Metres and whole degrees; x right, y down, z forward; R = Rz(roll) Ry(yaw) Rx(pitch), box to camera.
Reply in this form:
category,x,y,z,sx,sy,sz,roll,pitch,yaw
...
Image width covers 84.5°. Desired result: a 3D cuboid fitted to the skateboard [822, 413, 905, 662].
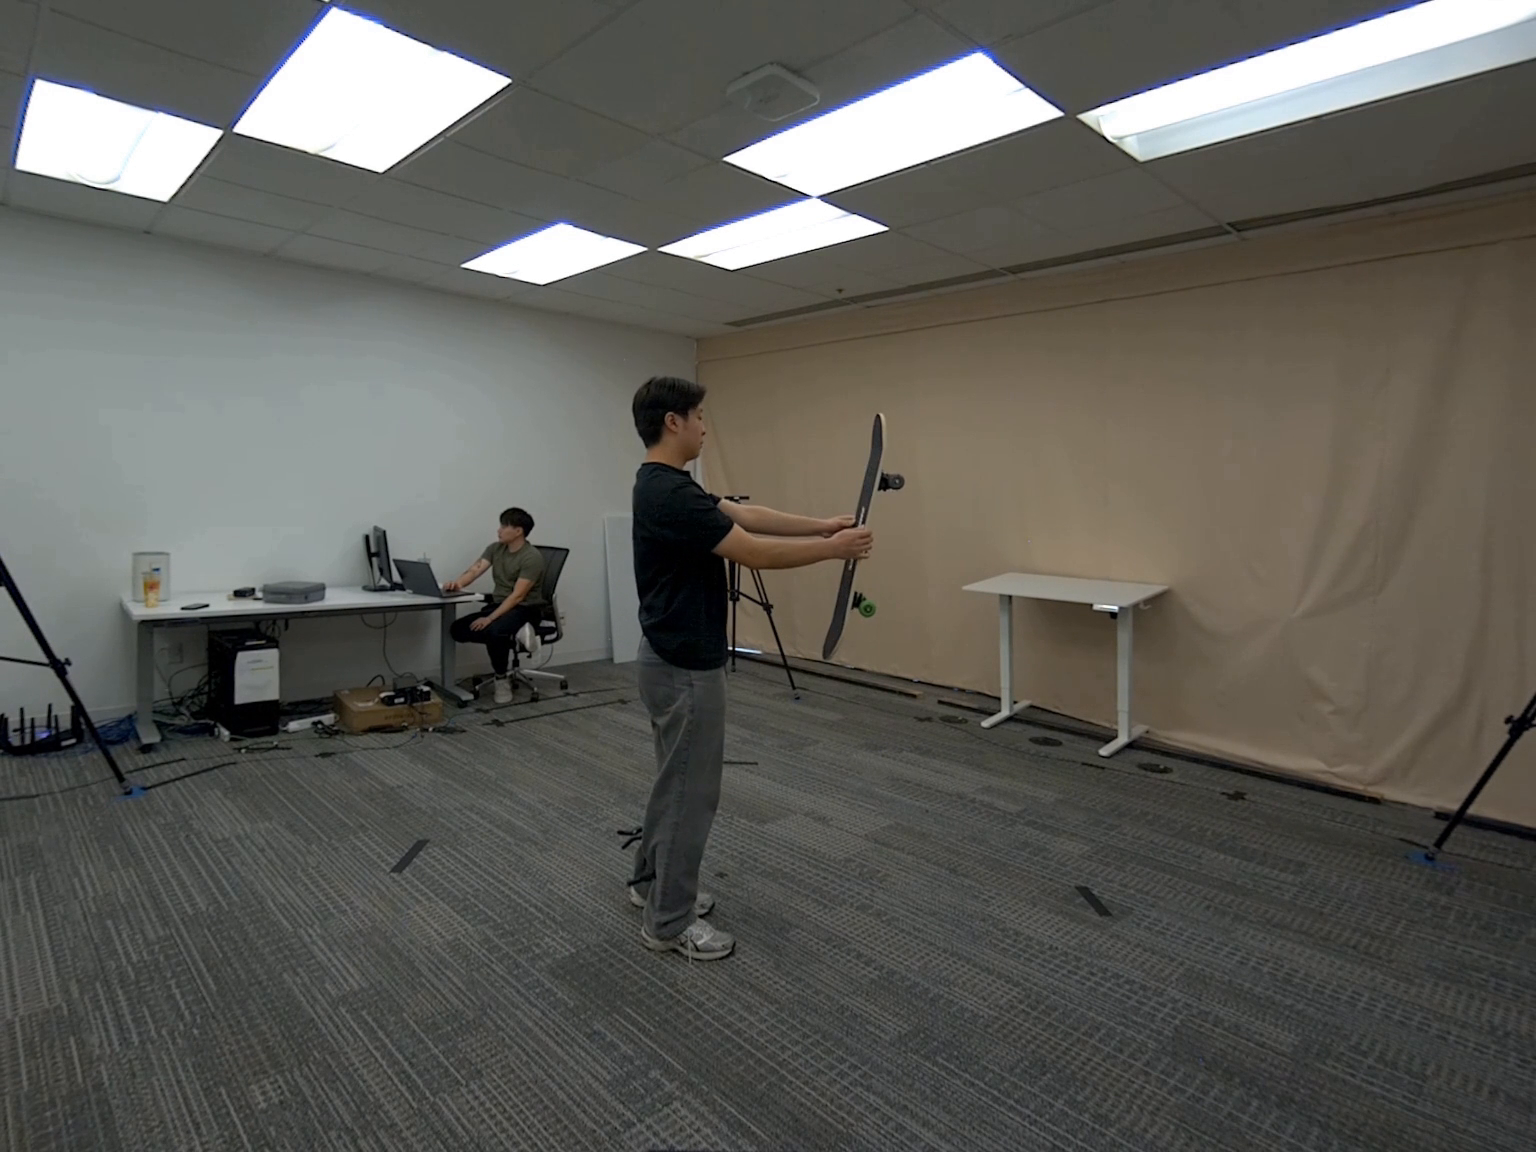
category,x,y,z,sx,sy,sz,roll,pitch,yaw
skateboard,0.303,-0.110,2.652,0.110,0.781,0.195,12,9,-4
